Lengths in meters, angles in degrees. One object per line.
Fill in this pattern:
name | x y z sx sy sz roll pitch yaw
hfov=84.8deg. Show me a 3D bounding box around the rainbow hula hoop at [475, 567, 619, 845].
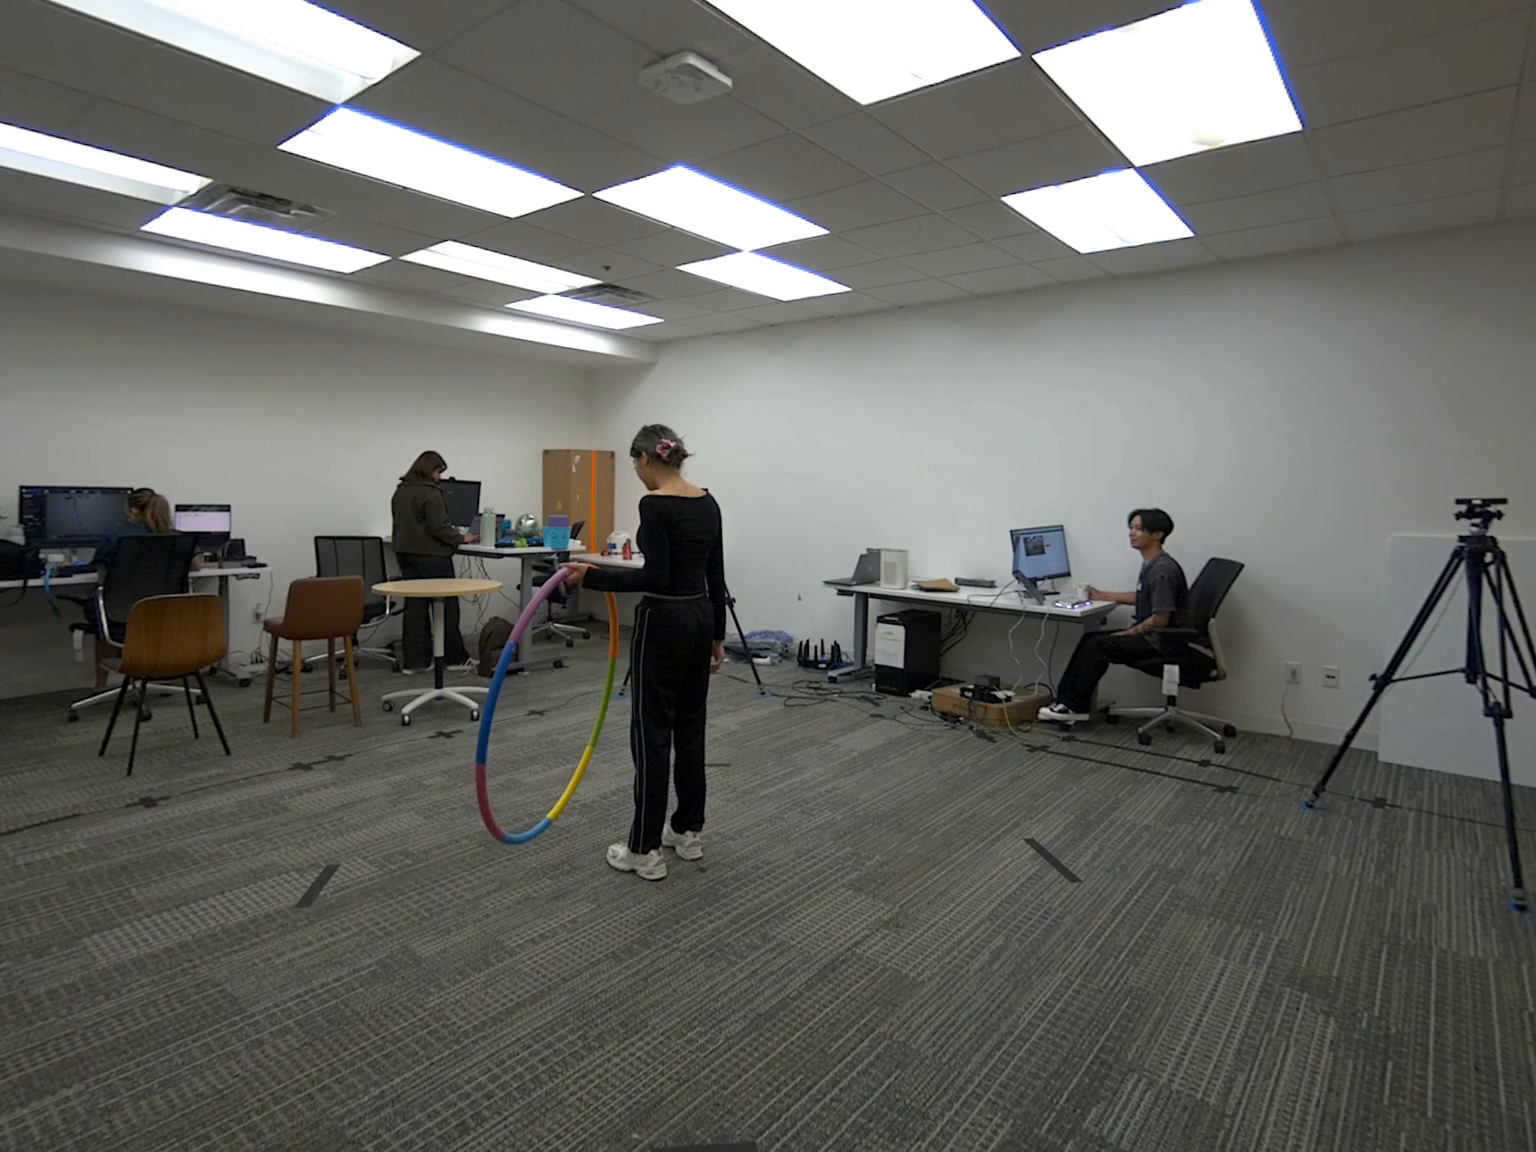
rainbow hula hoop | -0.767 0.450 3.033 0.036 0.974 0.965 10 6 13
